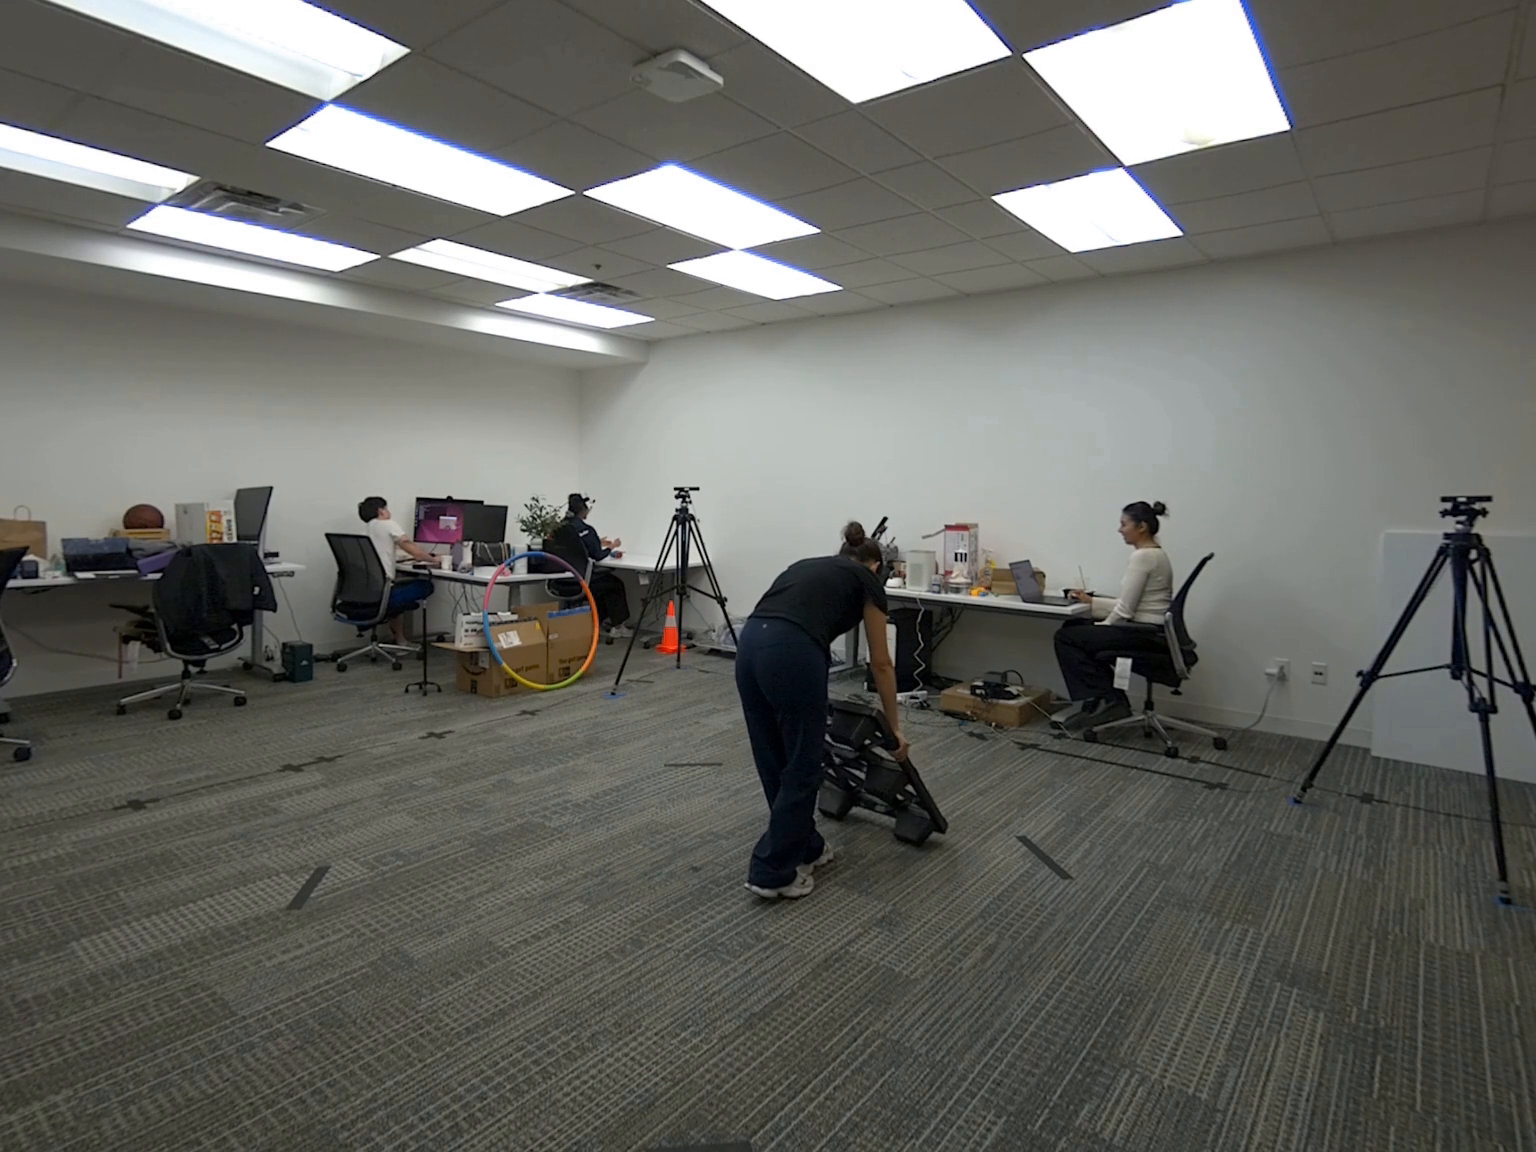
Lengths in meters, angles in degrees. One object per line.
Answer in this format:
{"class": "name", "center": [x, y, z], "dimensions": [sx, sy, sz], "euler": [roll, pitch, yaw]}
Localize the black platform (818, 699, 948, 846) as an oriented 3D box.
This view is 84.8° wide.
{"class": "black platform", "center": [0.311, 0.739, 3.338], "dimensions": [0.625, 0.776, 0.144], "euler": [4, 47, 42]}
